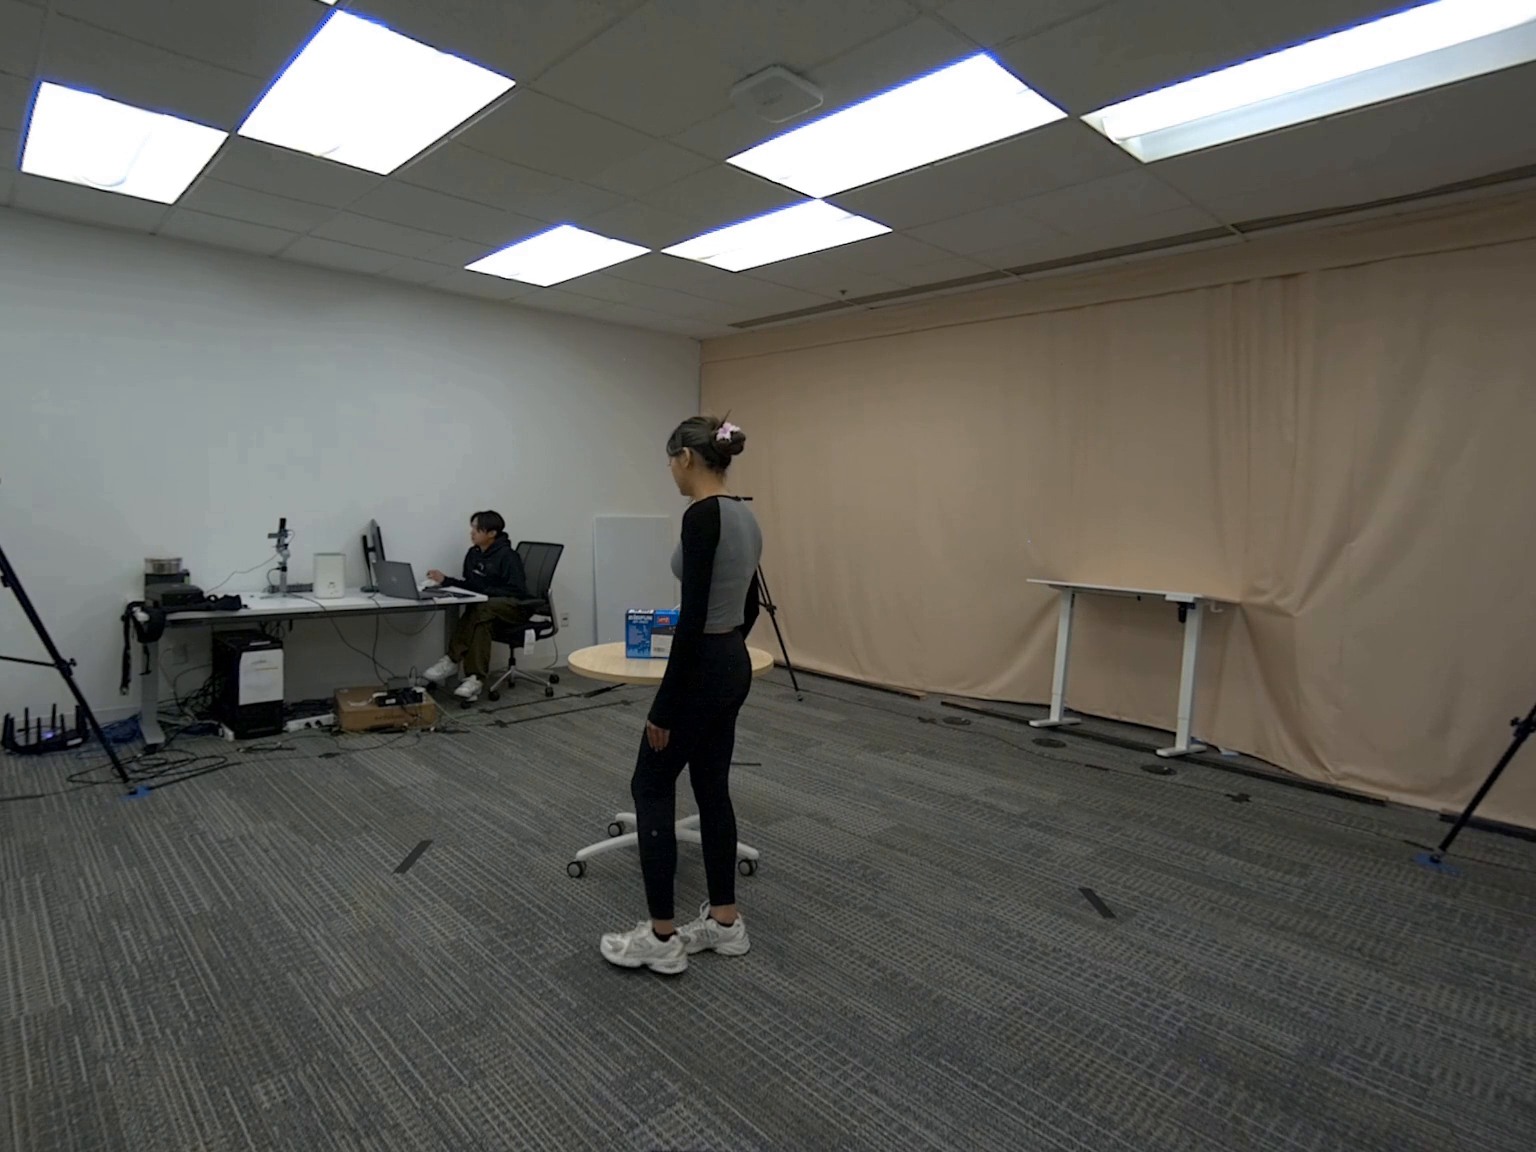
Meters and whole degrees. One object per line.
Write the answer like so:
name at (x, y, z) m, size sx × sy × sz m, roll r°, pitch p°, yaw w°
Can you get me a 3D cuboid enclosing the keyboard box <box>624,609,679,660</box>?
keyboard box at (-0.314, 0.214, 3.116) m, size 0.437 × 0.175 × 0.059 m, roll 2°, pitch 8°, yaw 2°
